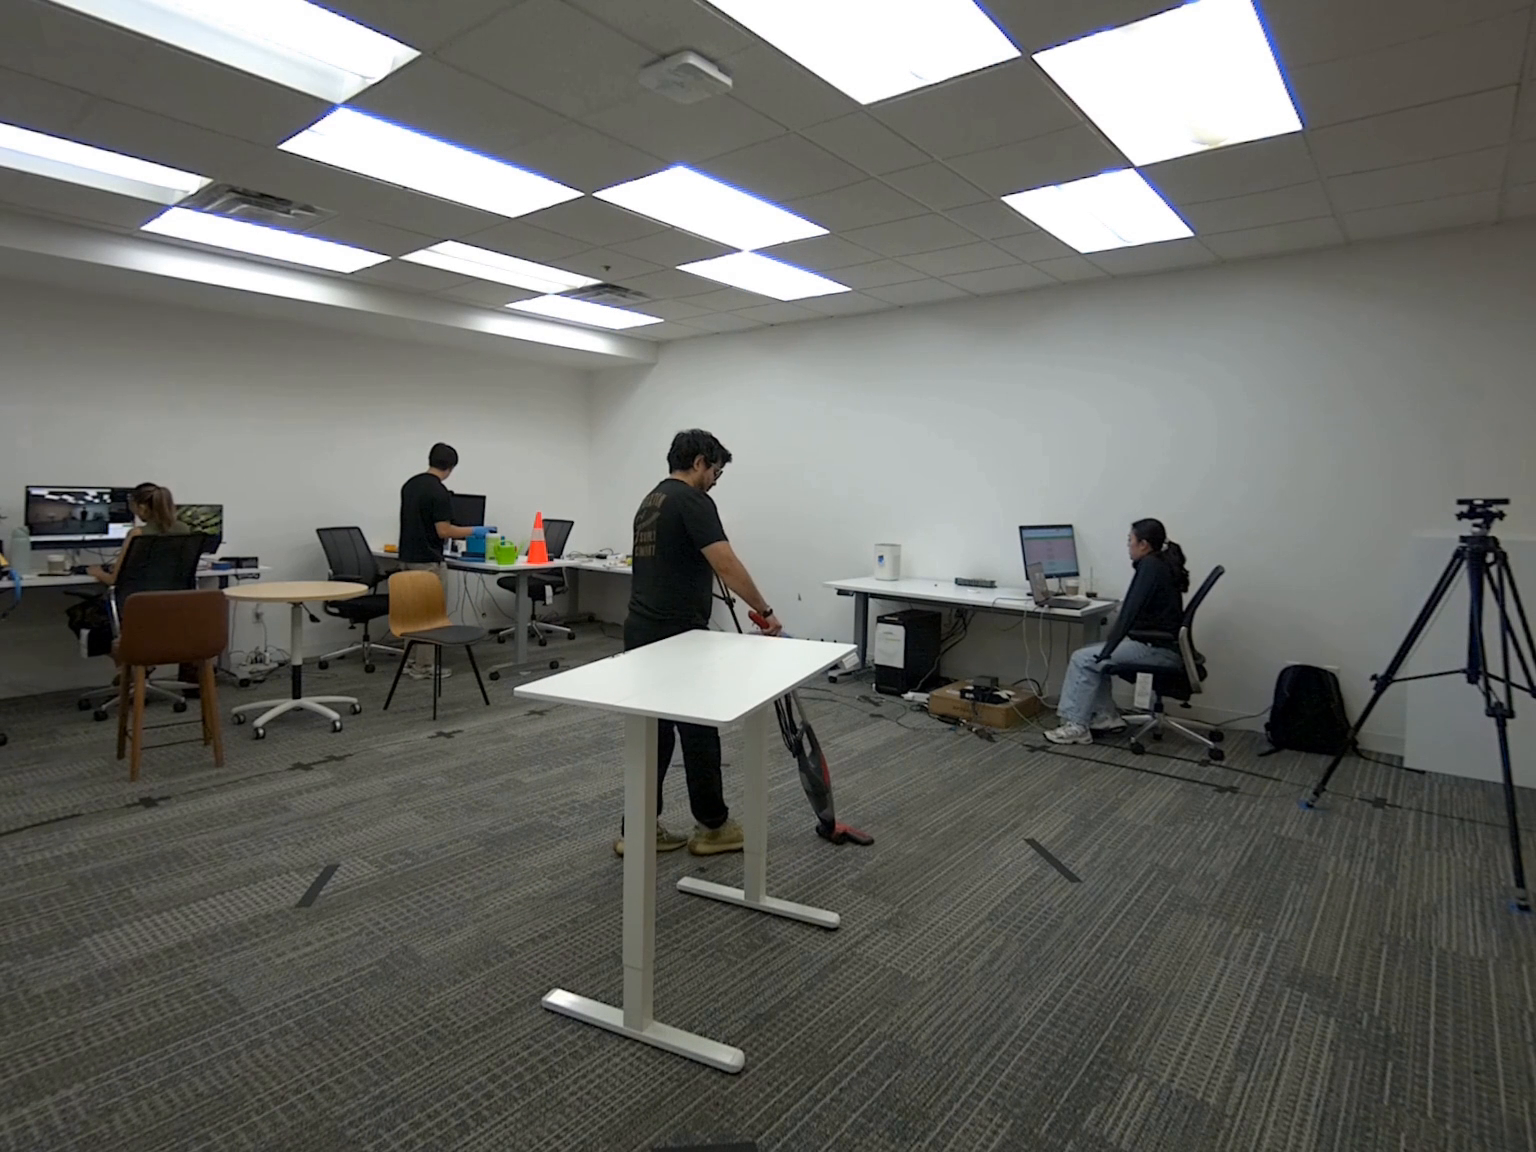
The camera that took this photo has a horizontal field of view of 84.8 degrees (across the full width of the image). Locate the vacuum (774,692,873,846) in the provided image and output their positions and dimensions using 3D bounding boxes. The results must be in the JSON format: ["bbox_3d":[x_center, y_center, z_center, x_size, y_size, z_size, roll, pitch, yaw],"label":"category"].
[{"bbox_3d":[0.121,0.601,3.279,0.142,1.025,0.261,-34,24,-35],"label":"vacuum"}]
